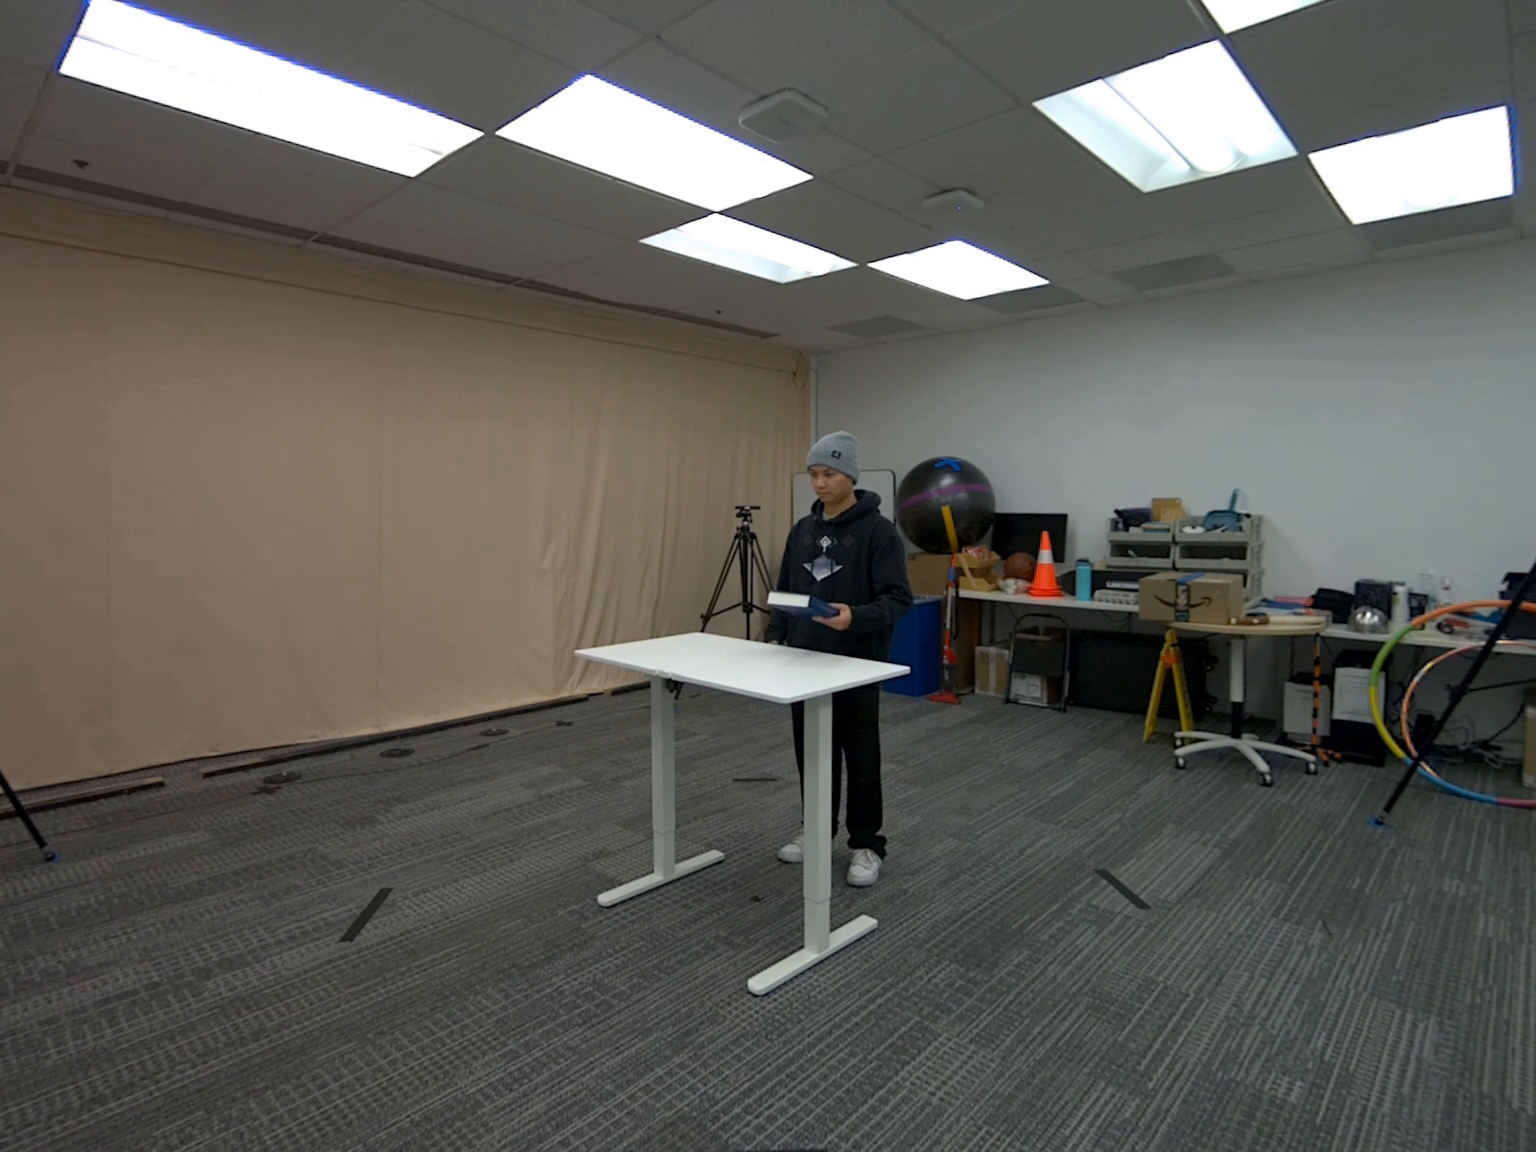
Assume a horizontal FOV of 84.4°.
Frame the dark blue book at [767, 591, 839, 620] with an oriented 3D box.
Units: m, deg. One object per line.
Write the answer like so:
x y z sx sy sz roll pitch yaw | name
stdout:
0.118 0.104 2.851 0.168 0.045 0.237 5 -11 32 | dark blue book
